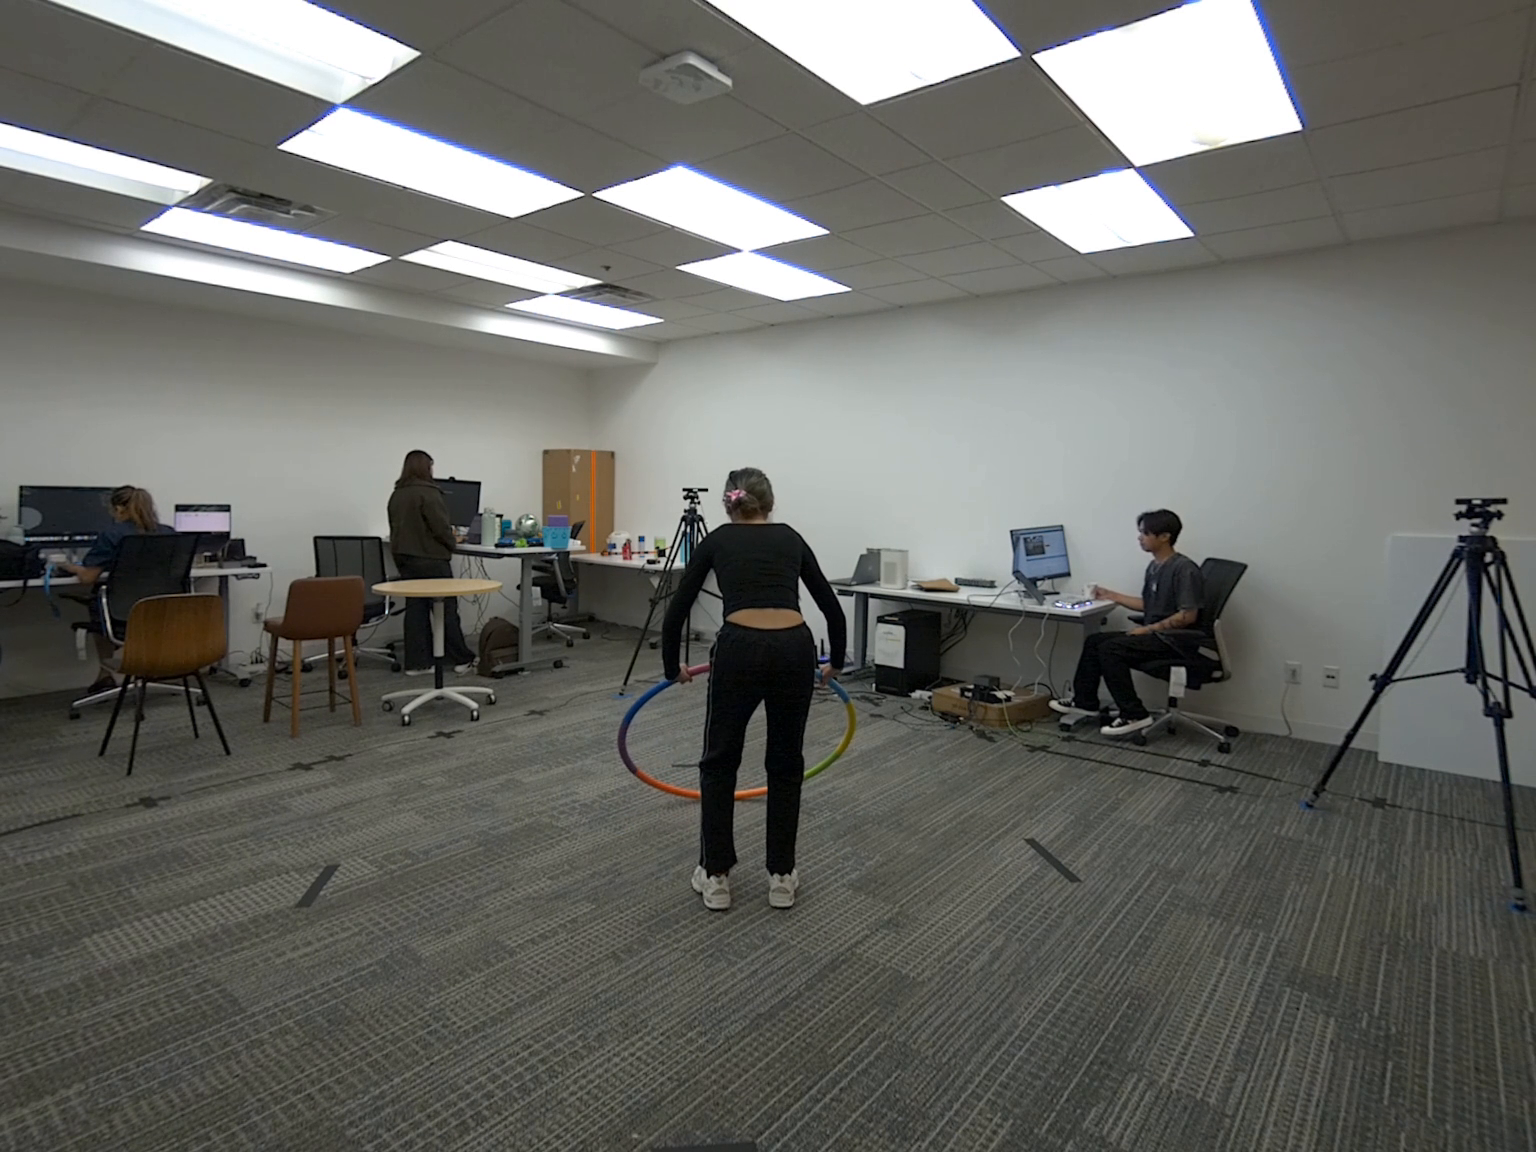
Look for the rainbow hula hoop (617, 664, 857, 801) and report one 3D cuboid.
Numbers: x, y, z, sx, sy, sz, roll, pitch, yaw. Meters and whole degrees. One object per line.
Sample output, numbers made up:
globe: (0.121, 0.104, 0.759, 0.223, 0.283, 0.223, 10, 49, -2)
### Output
rainbow hula hoop: (-0.149, 0.646, 3.494, 0.970, 0.955, 0.037, 1, 45, -8)
